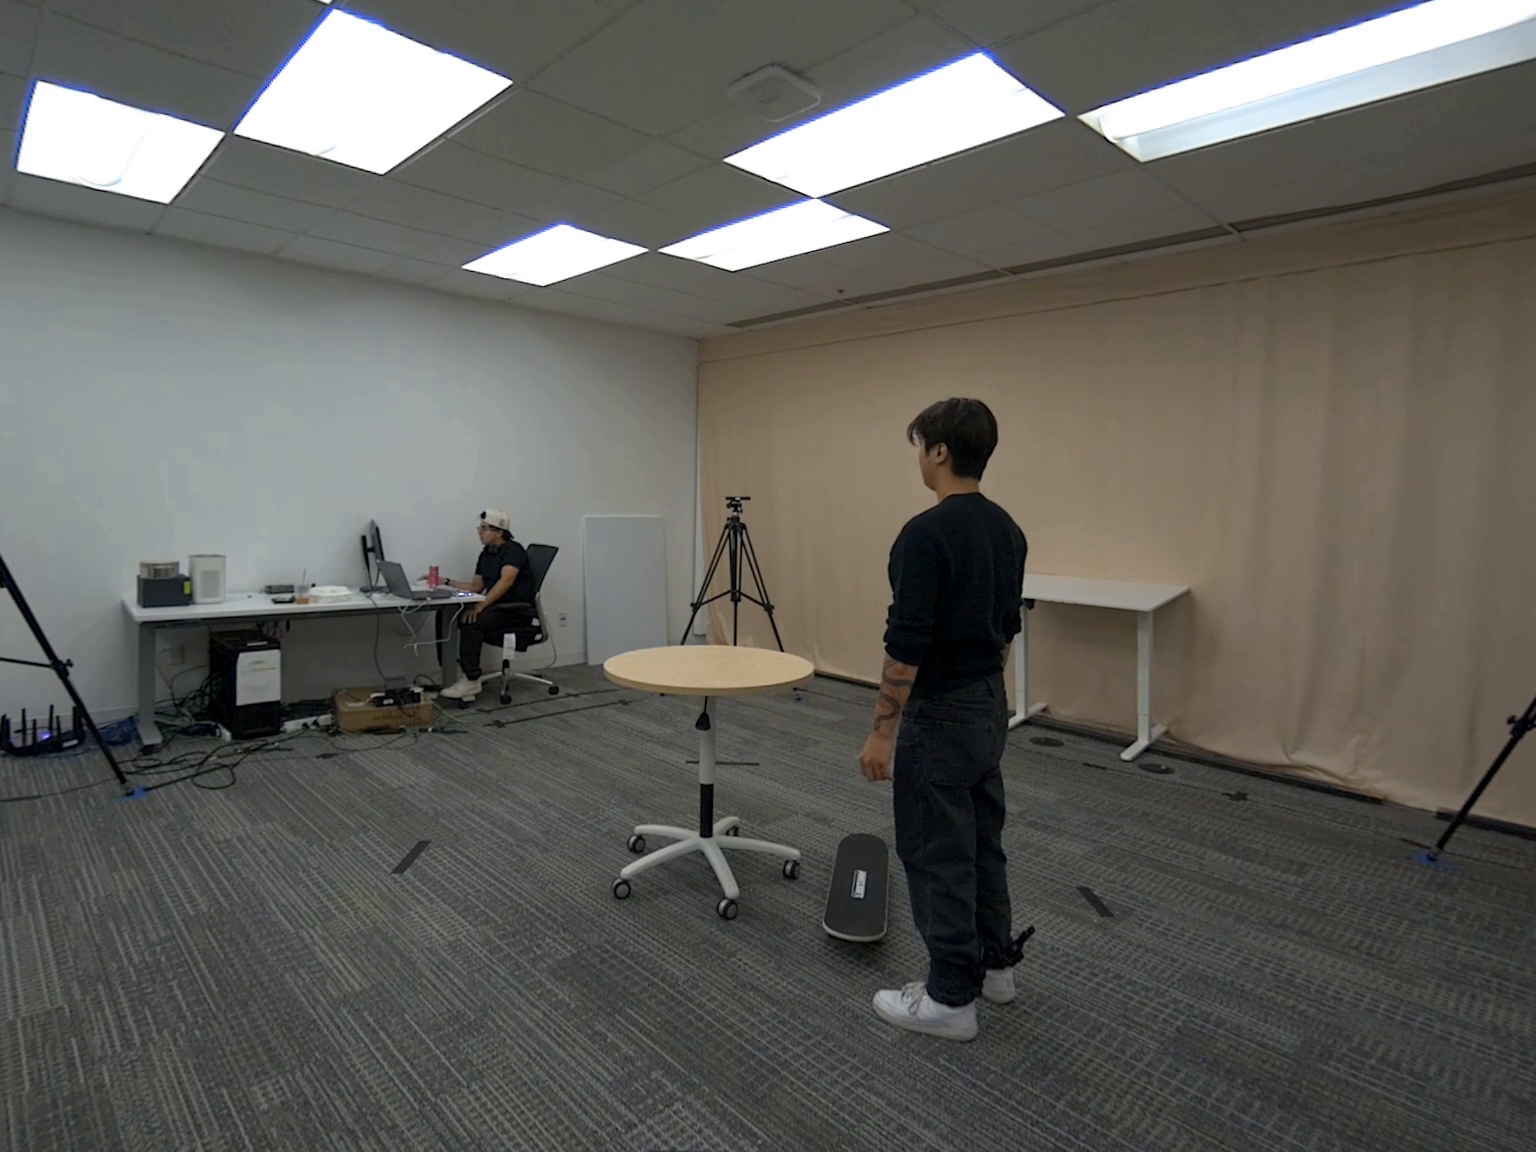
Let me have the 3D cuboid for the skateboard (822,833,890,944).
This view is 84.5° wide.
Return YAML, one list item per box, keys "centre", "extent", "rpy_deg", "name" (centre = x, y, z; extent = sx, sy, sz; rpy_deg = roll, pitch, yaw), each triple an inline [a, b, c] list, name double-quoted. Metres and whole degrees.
- centre: [0.303, 1.079, 2.870]
  extent: [0.195, 0.110, 0.781]
  rpy_deg: [2, 6, 9]
  name: "skateboard"
